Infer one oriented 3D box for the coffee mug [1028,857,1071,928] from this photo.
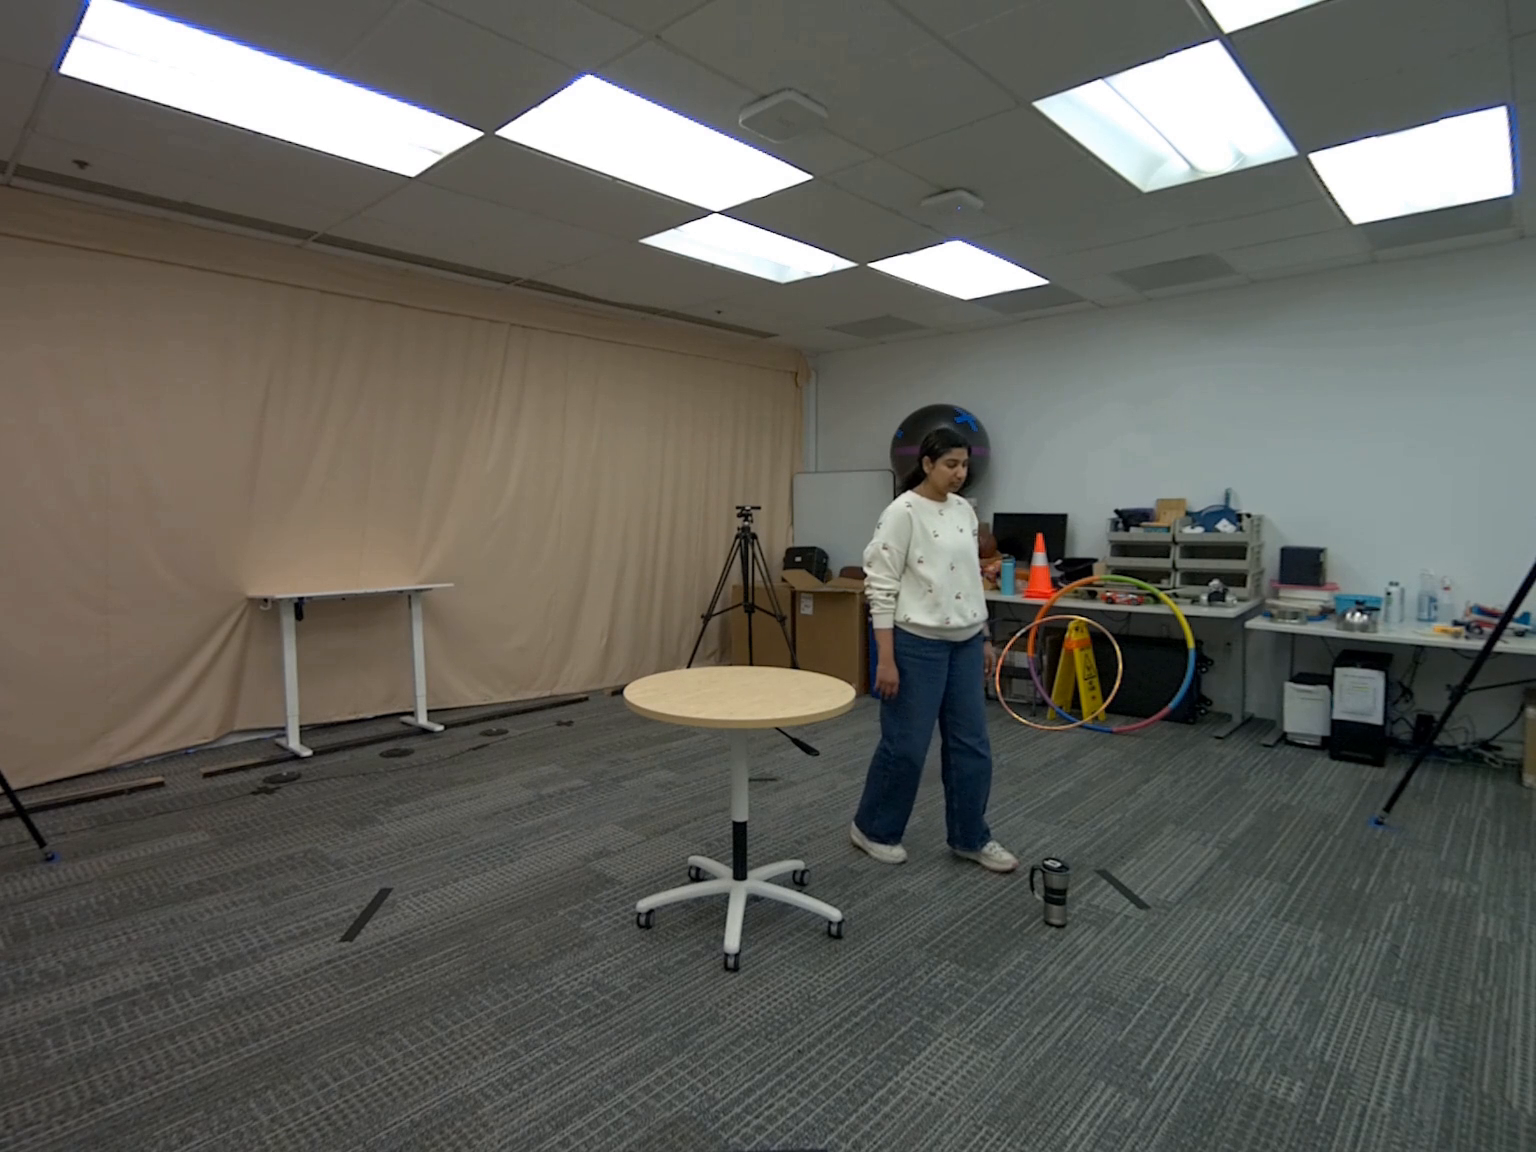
[{"bbox_3d":[0.939,1.054,2.818,0.126,0.202,0.085,5,8,39],"label":"coffee mug"}]
